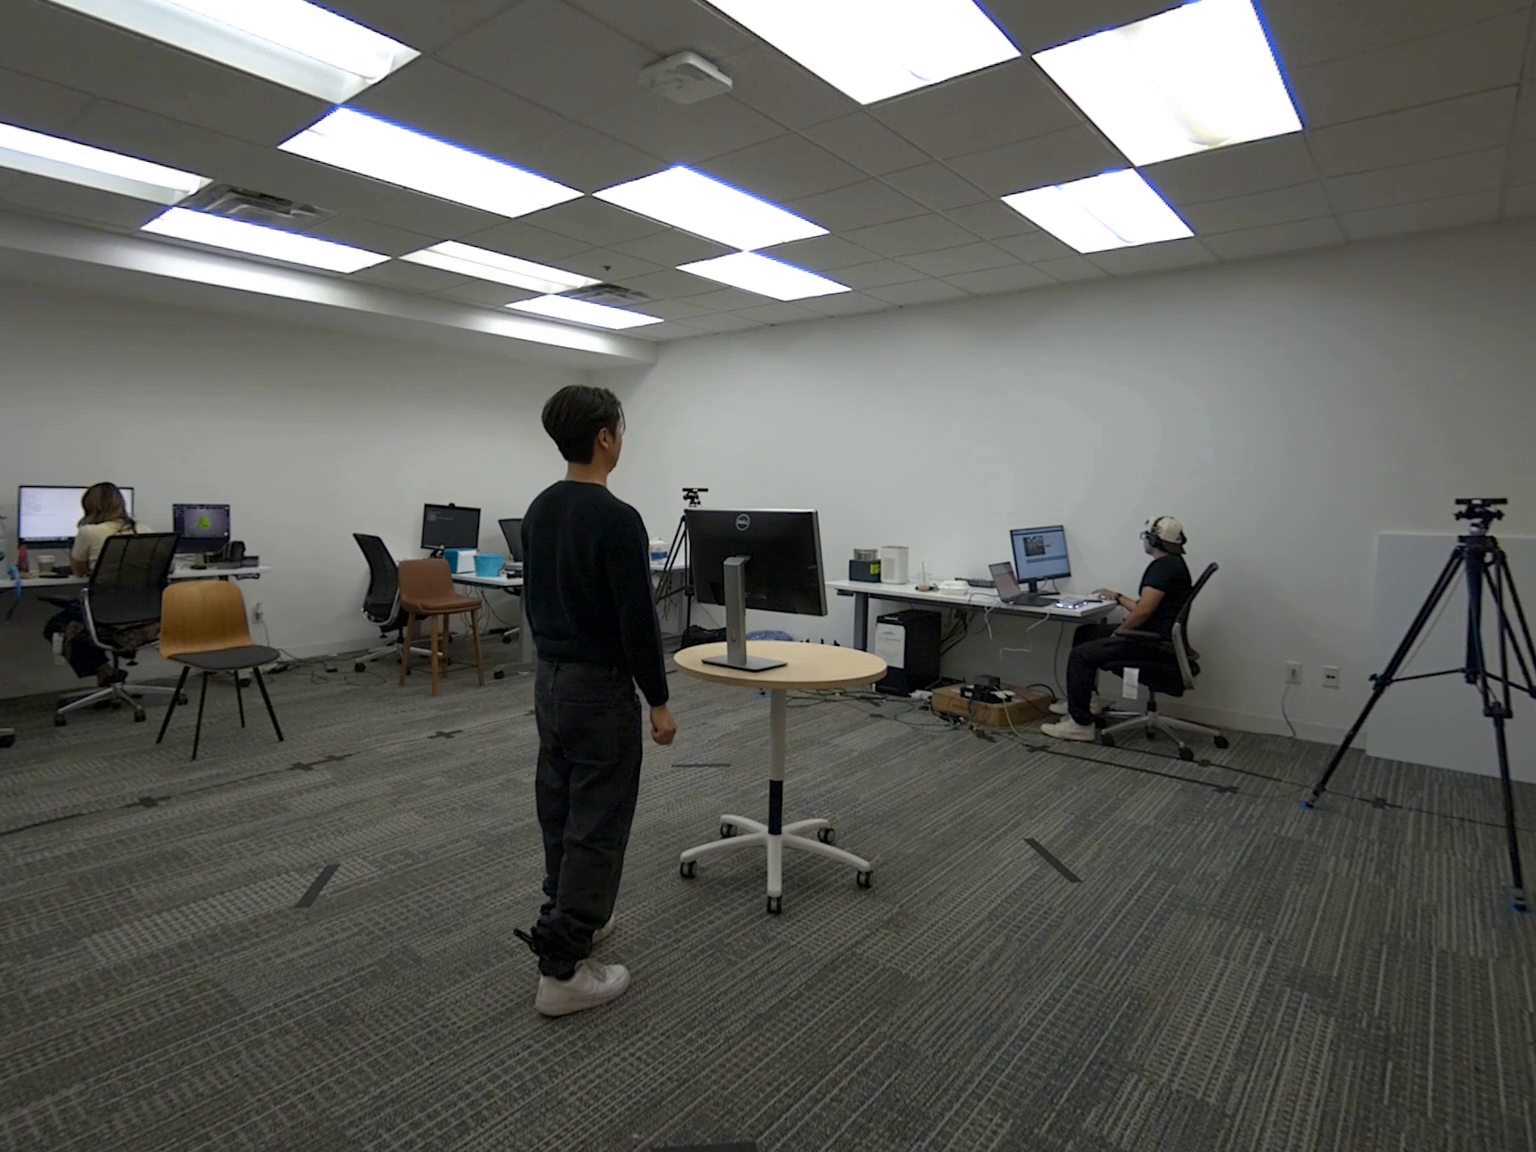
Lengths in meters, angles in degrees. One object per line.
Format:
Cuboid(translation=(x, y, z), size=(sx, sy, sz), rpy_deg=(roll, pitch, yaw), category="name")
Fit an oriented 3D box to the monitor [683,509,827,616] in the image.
Cuboid(translation=(-0.087, 0.038, 2.959), size=(0.556, 0.522, 0.181), rpy_deg=(4, 2, 35), category="monitor")
